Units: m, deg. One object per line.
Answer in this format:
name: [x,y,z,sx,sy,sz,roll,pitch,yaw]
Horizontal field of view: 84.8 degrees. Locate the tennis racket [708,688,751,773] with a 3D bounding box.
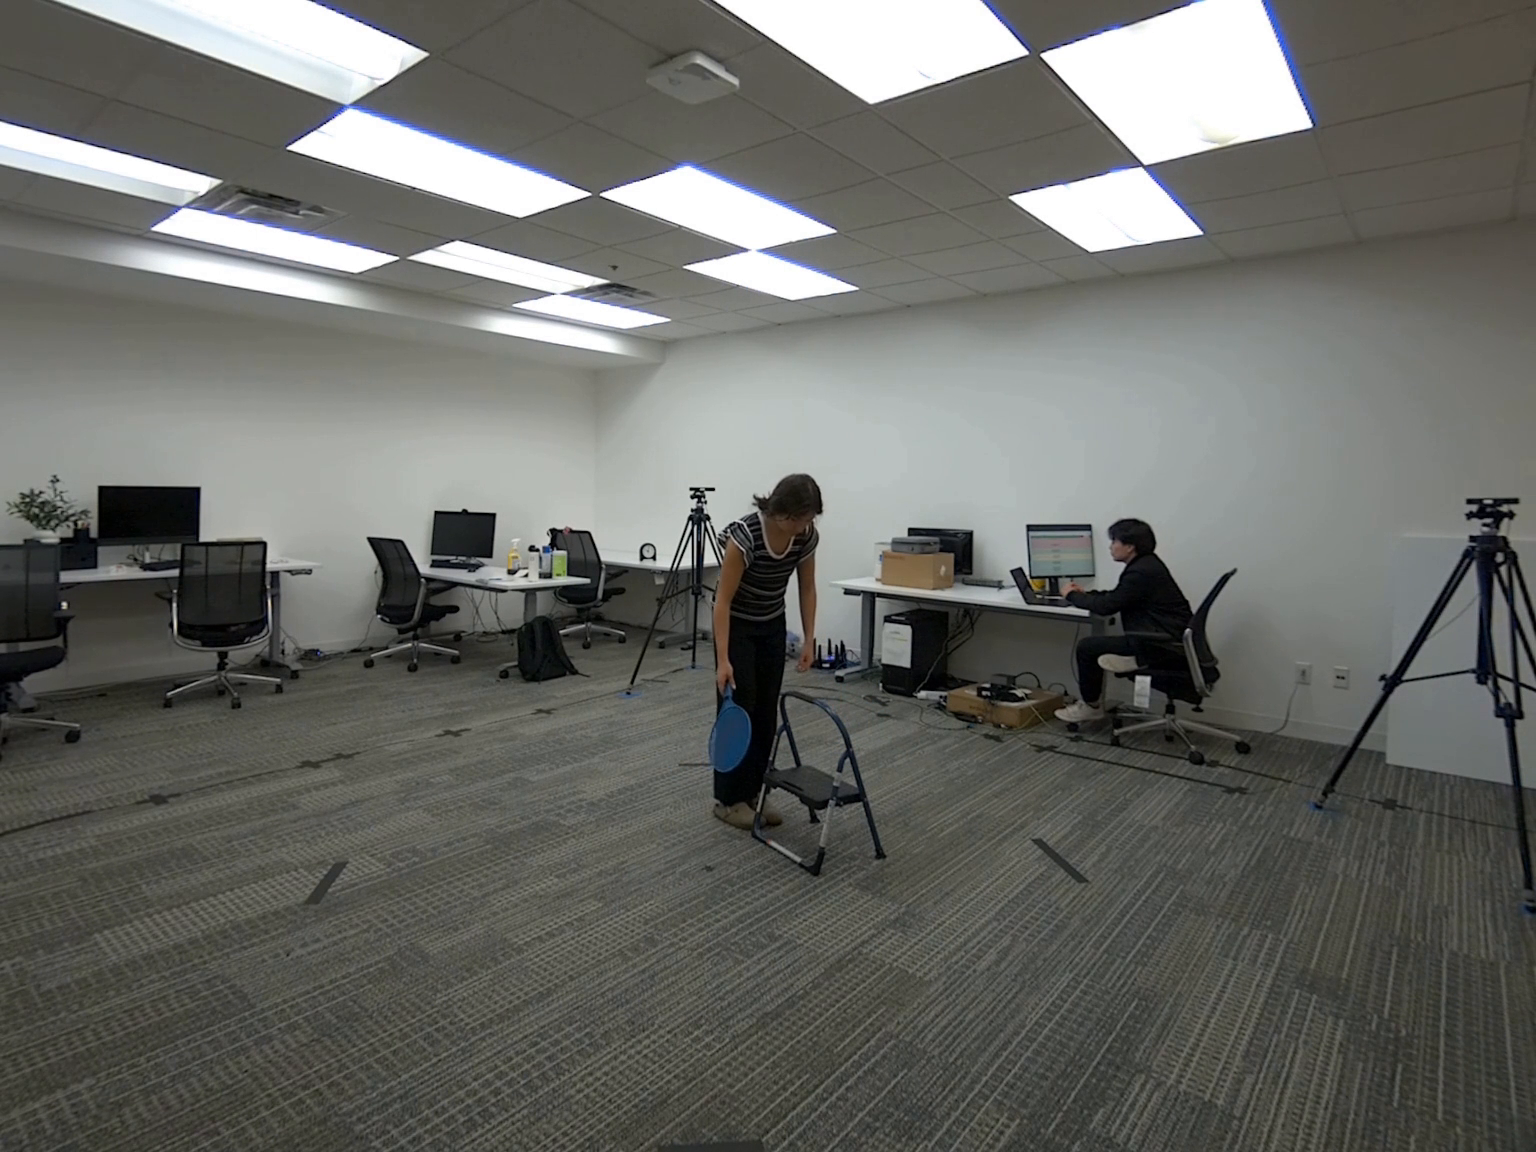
tennis racket: [-0.158,0.542,3.253,0.215,0.448,0.030,-37,-50,22]
